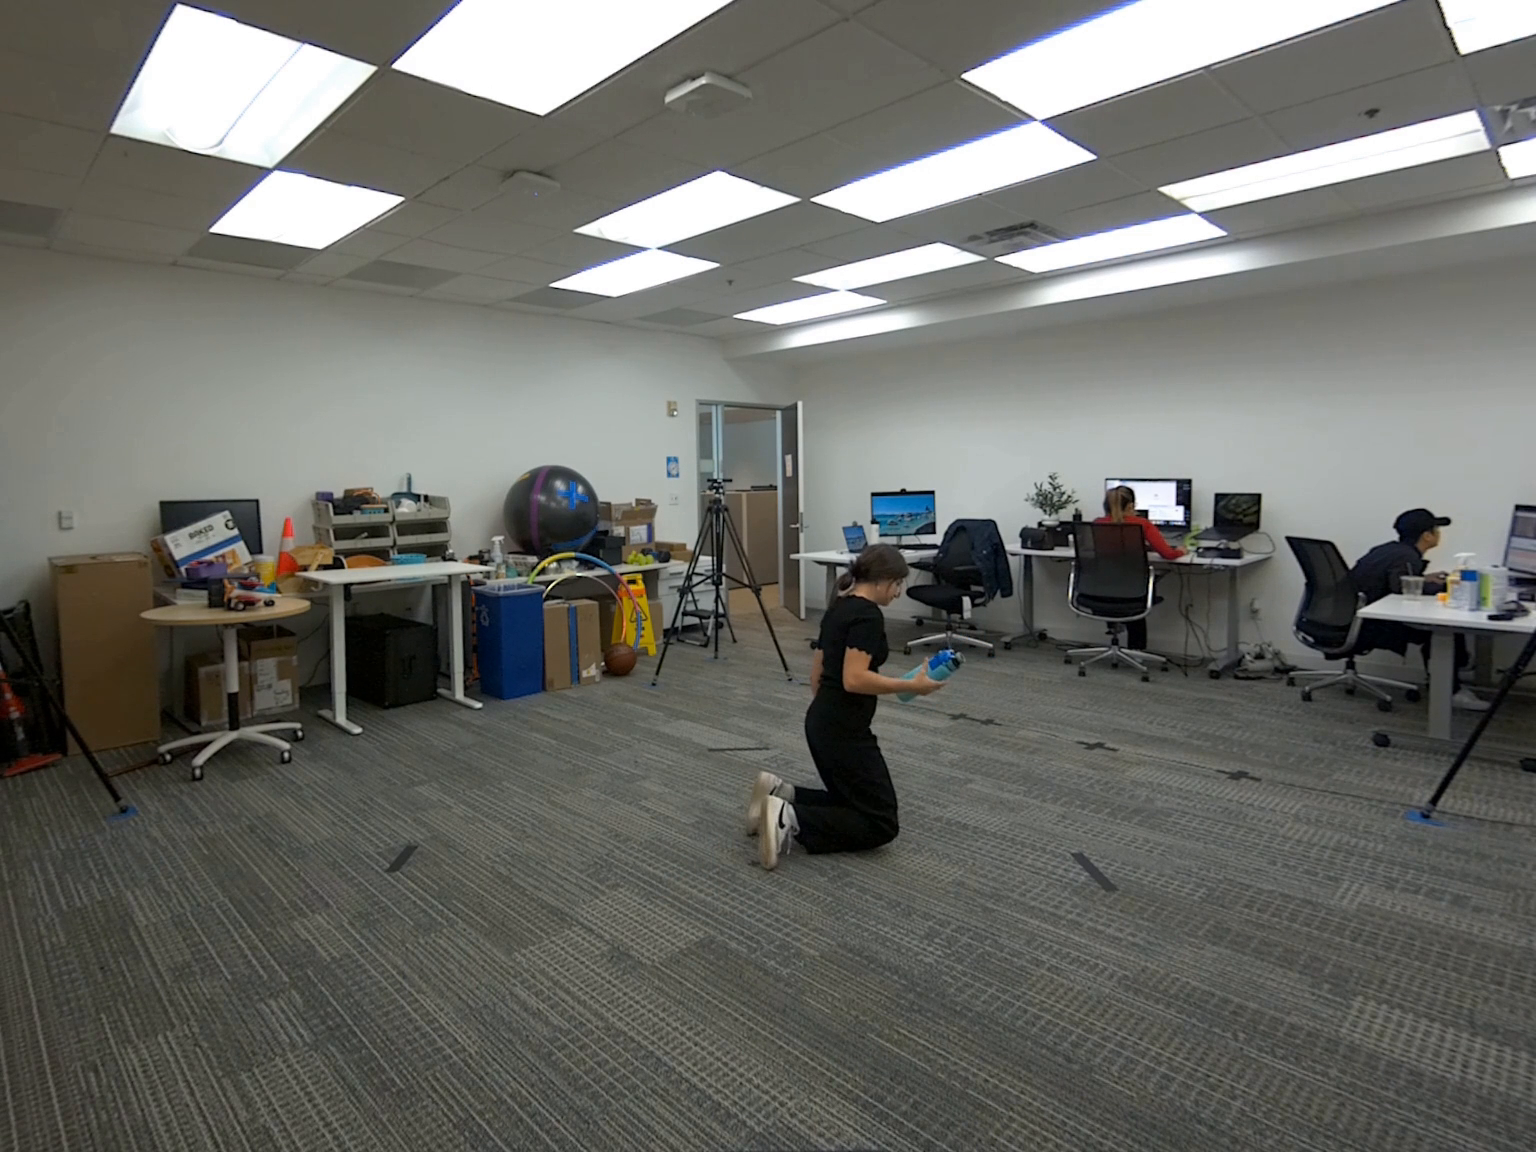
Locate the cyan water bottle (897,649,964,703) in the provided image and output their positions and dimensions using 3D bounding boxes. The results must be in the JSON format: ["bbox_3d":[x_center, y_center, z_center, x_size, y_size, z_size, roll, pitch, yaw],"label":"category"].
[{"bbox_3d":[0.604,0.367,3.192,0.284,0.094,0.090,-38,-14,27],"label":"cyan water bottle"}]
